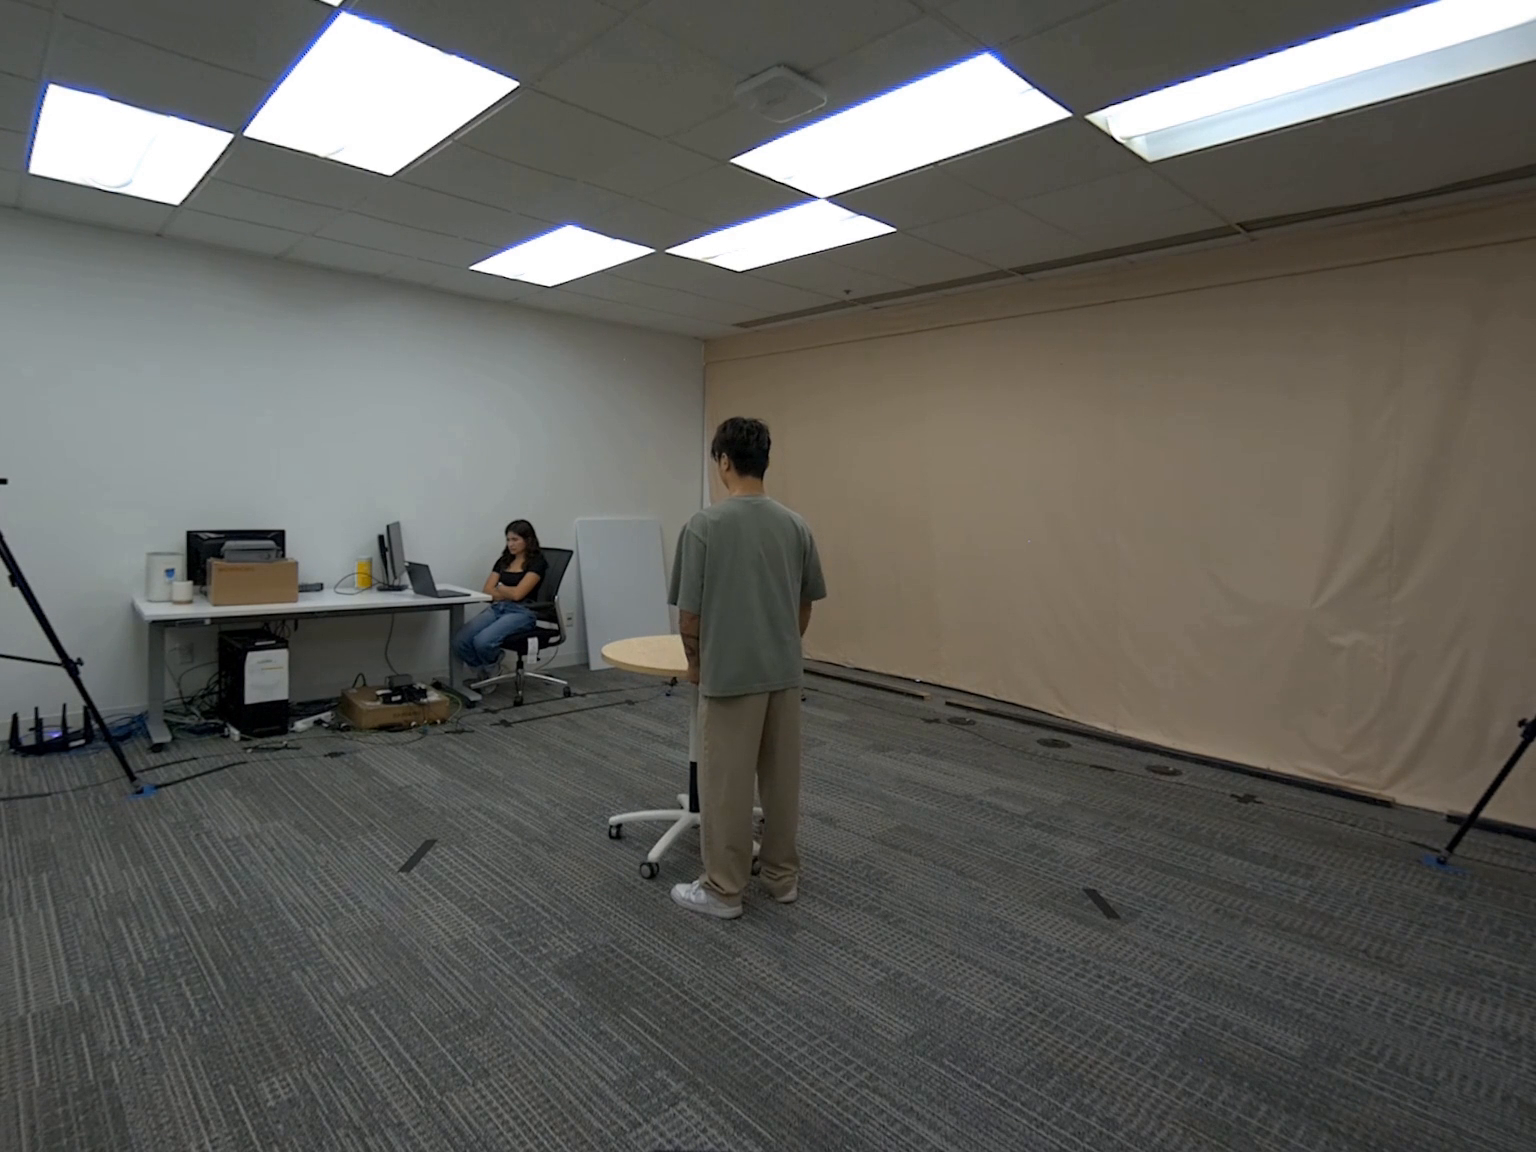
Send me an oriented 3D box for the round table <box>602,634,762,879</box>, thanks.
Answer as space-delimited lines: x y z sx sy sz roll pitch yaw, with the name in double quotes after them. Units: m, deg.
-0.301 0.688 3.362 0.784 0.784 0.788 2 4 -1 "round table"
